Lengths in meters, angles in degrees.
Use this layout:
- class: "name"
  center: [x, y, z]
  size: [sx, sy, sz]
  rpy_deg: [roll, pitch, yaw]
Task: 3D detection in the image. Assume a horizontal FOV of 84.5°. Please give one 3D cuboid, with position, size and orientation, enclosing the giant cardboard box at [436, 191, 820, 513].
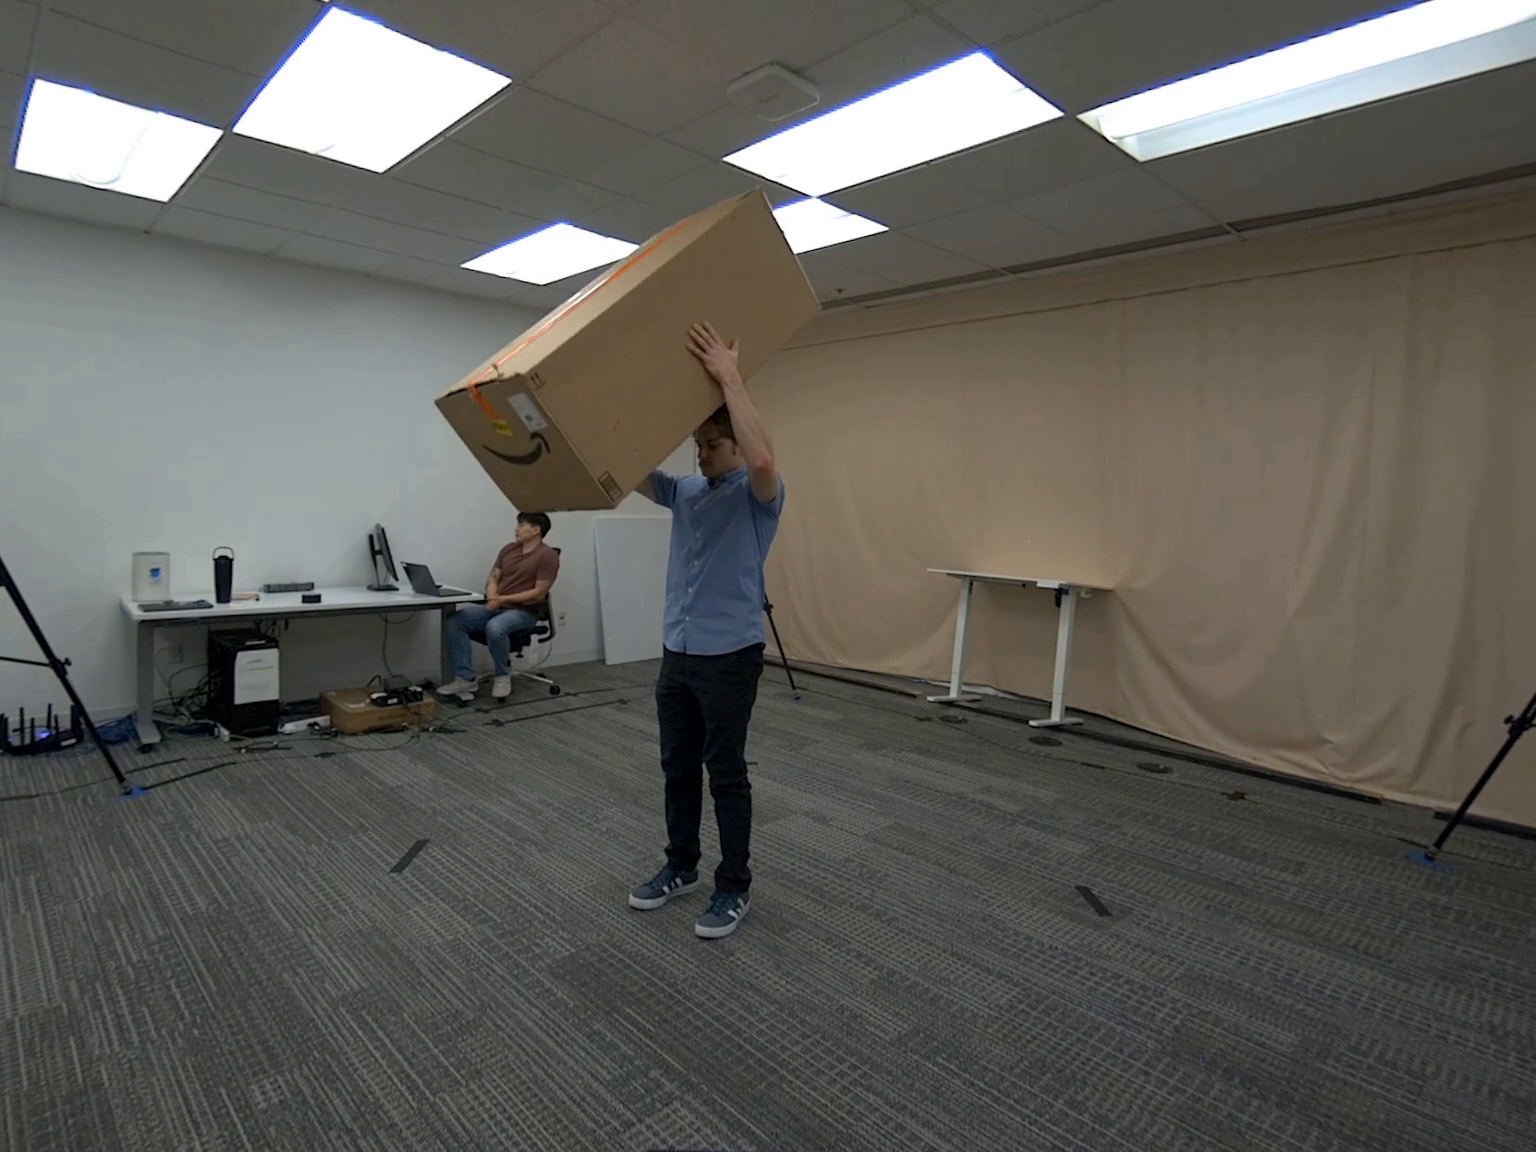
- class: "giant cardboard box"
  center: [-0.412, -0.676, 2.581]
  size: [0.591, 0.416, 1.026]
  rpy_deg: [3, 44, 49]
